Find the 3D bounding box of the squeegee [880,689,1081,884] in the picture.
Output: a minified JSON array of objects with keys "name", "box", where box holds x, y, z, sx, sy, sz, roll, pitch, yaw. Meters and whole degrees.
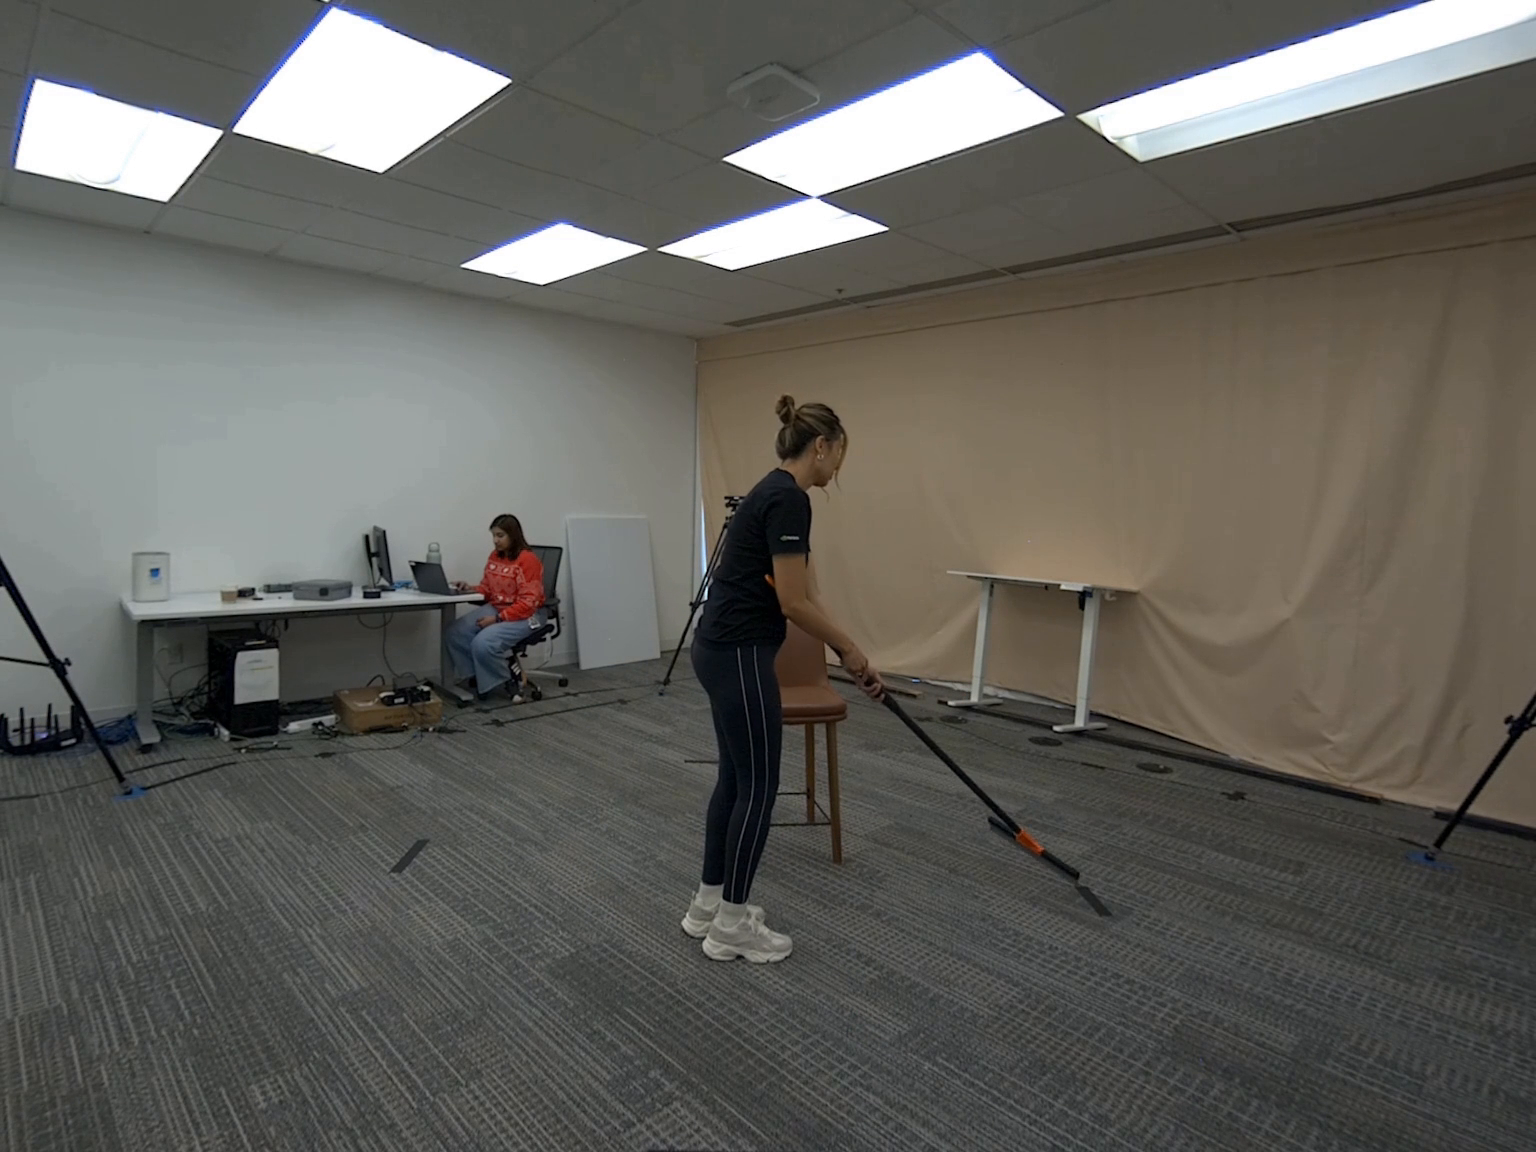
[{"name":"squeegee","box":[0.482,0.504,2.743,1.501,0.053,0.448,45,-8,-24]}]
